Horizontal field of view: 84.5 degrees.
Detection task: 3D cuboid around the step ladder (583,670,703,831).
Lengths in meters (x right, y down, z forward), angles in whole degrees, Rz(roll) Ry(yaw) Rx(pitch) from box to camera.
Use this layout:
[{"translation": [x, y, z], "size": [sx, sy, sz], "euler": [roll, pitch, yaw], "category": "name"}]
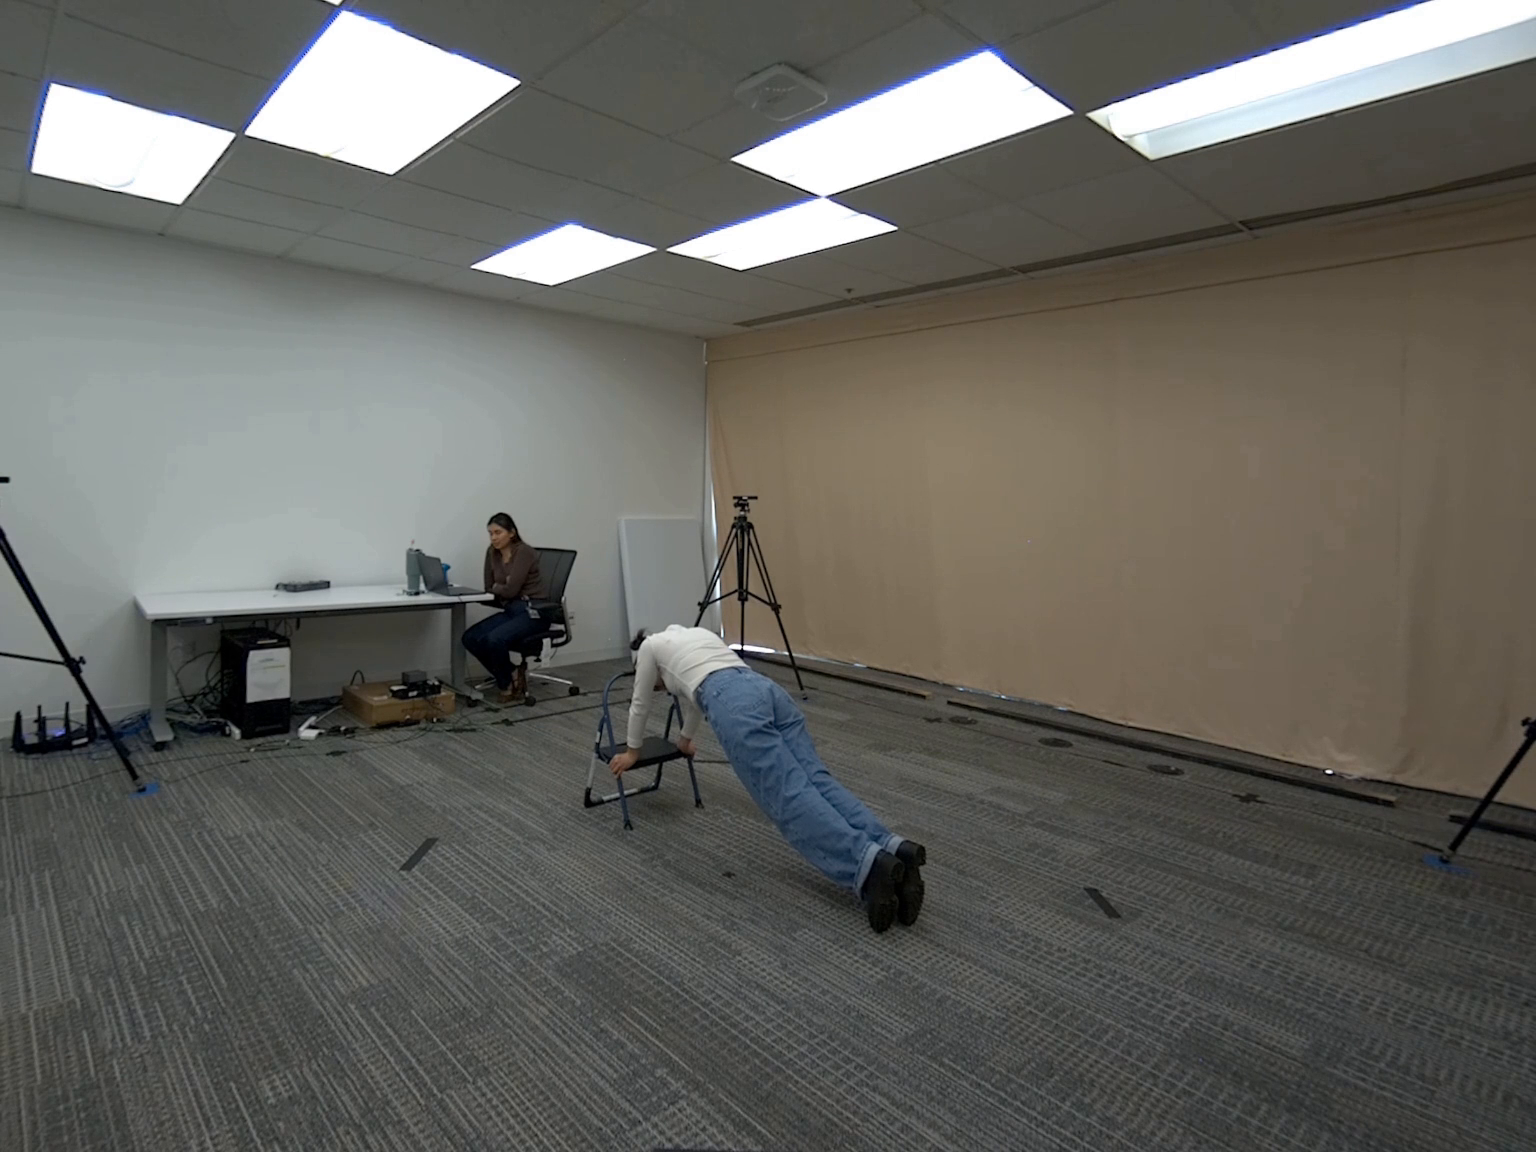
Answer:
[{"translation": [-0.558, 0.736, 3.755], "size": [0.358, 0.605, 0.421], "euler": [5, 5, 45], "category": "step ladder"}]
